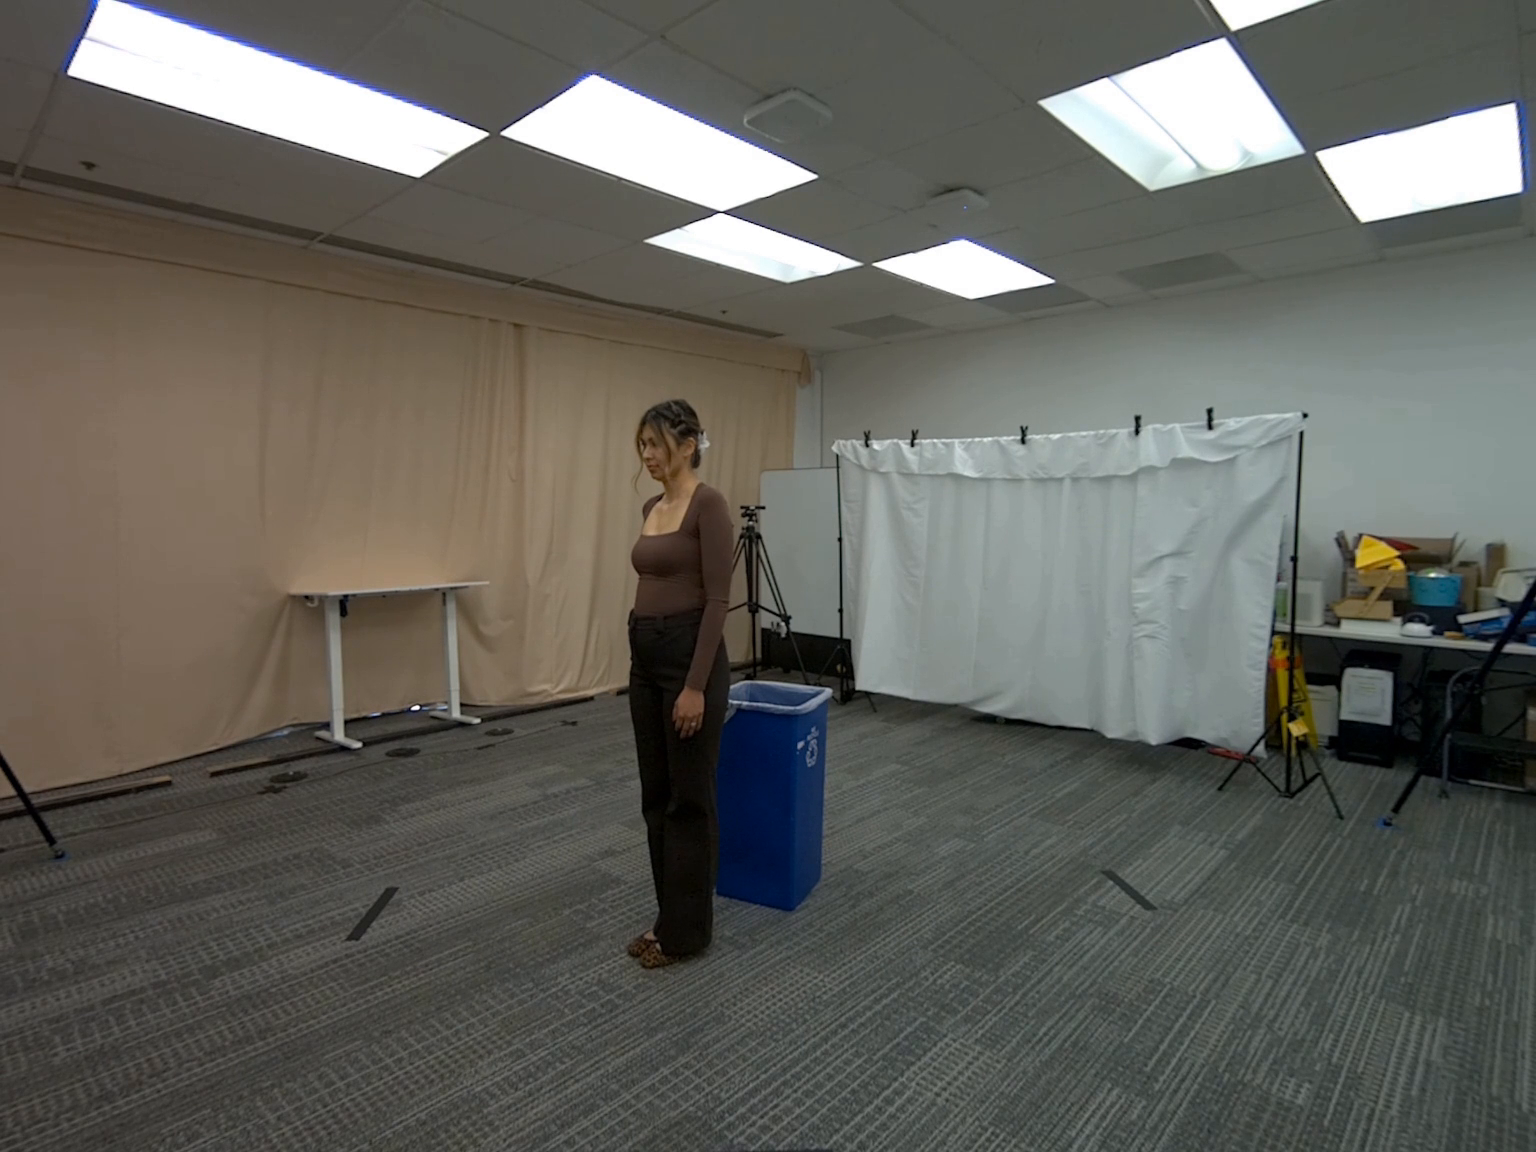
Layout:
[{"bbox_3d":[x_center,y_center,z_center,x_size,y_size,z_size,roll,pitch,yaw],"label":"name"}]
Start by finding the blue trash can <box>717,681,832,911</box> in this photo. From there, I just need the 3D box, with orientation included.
[{"bbox_3d":[0.006,0.778,3.063,0.384,0.712,0.369,3,4,24],"label":"blue trash can"}]
